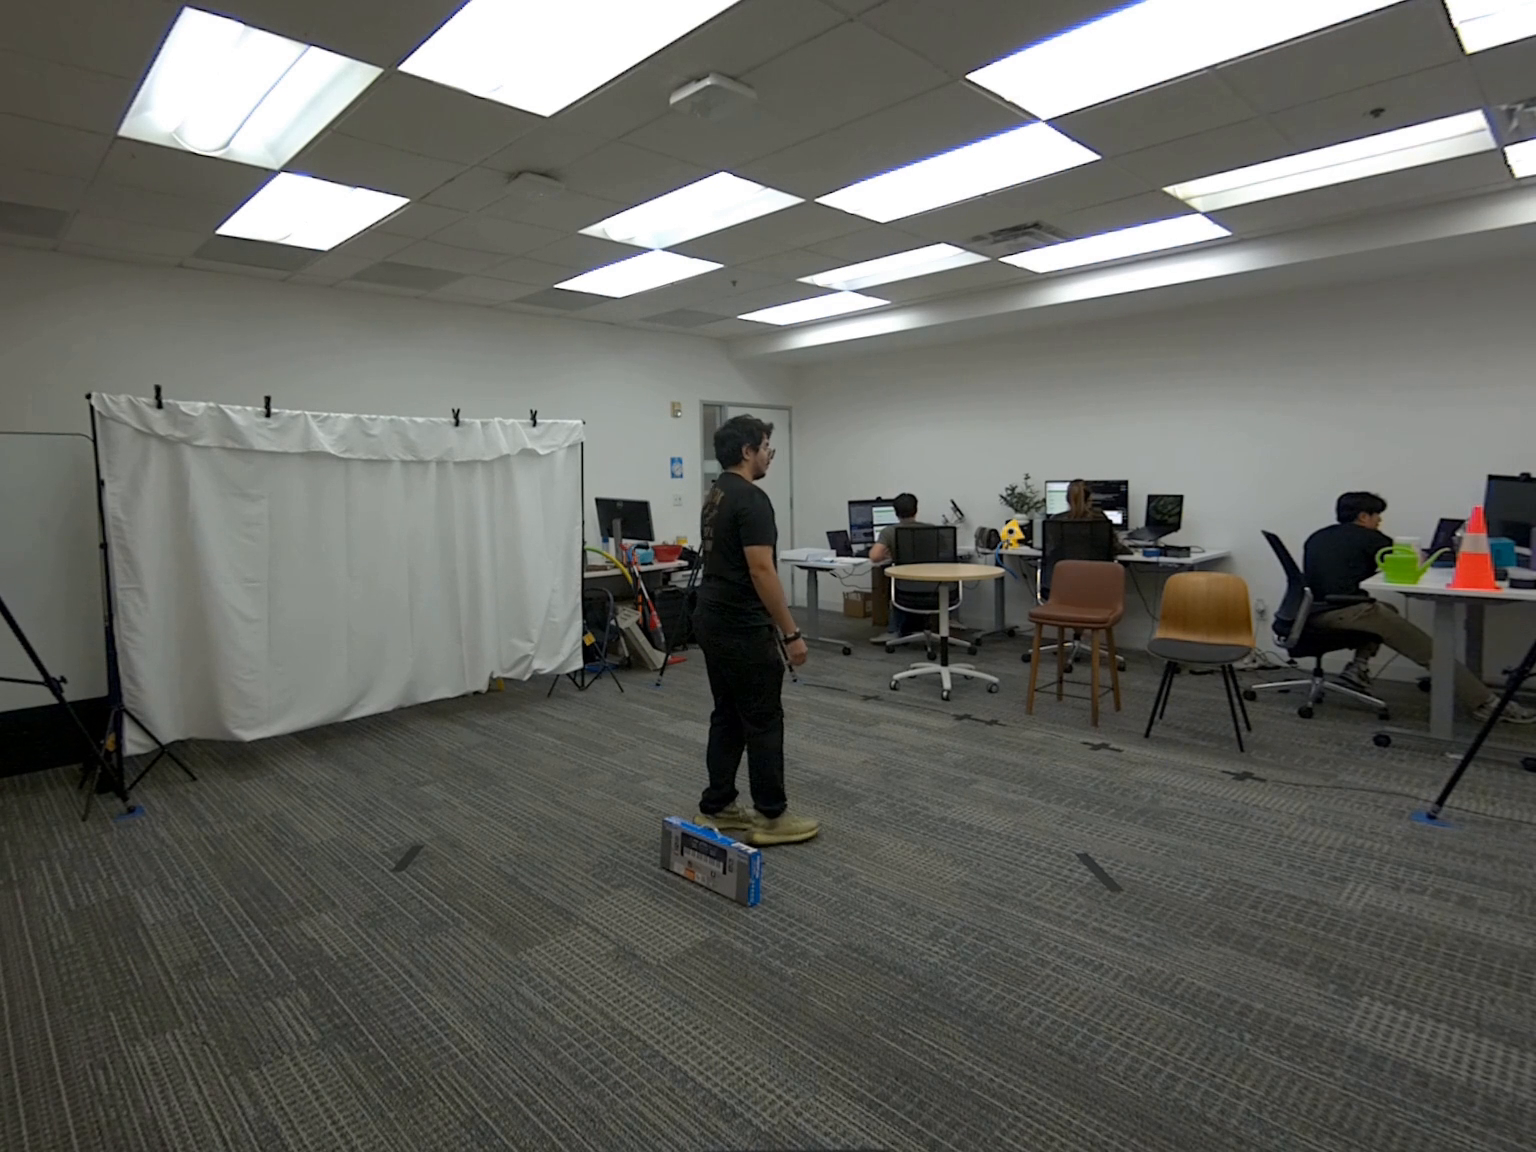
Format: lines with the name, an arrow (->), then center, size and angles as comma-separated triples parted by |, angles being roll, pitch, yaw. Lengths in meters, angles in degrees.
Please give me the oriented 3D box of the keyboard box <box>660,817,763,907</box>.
keyboard box -> -0.206, 0.981, 2.957 | 0.450, 0.176, 0.057 | 5, 2, 44
